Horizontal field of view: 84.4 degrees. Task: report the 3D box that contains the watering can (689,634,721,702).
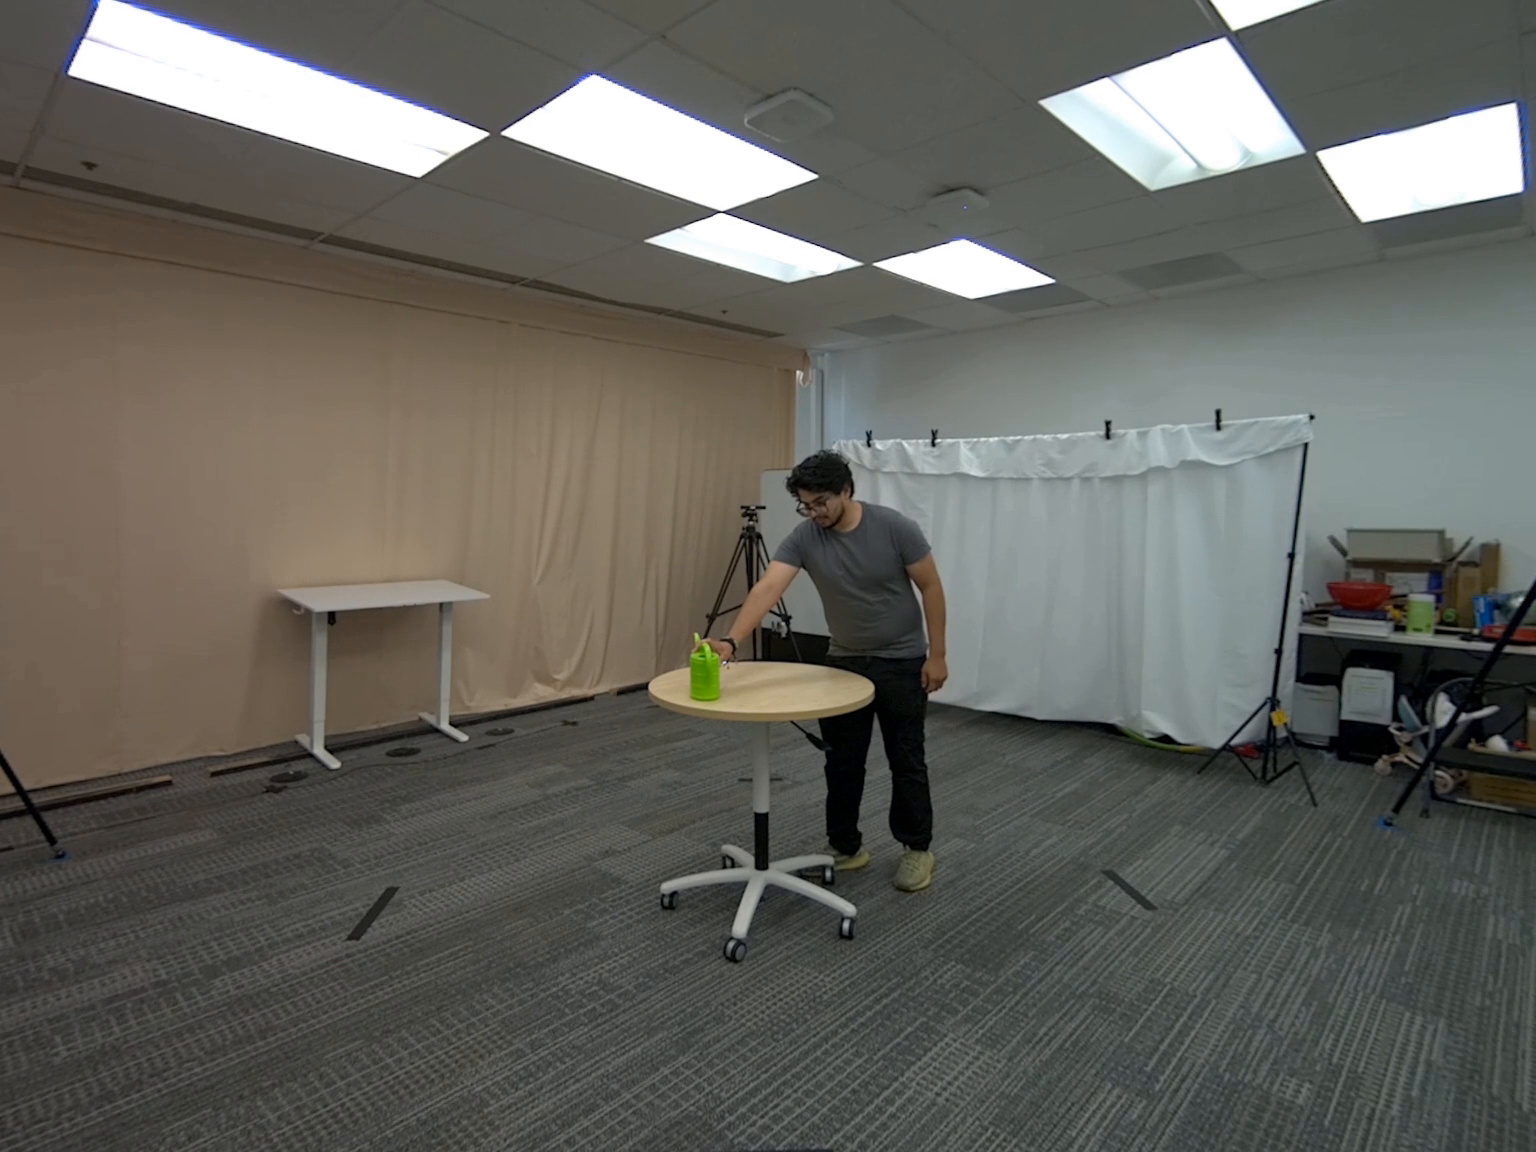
[{"bbox_3d":[-0.197,0.298,2.737,0.098,0.176,0.278,-2,7,2],"label":"watering can"}]
